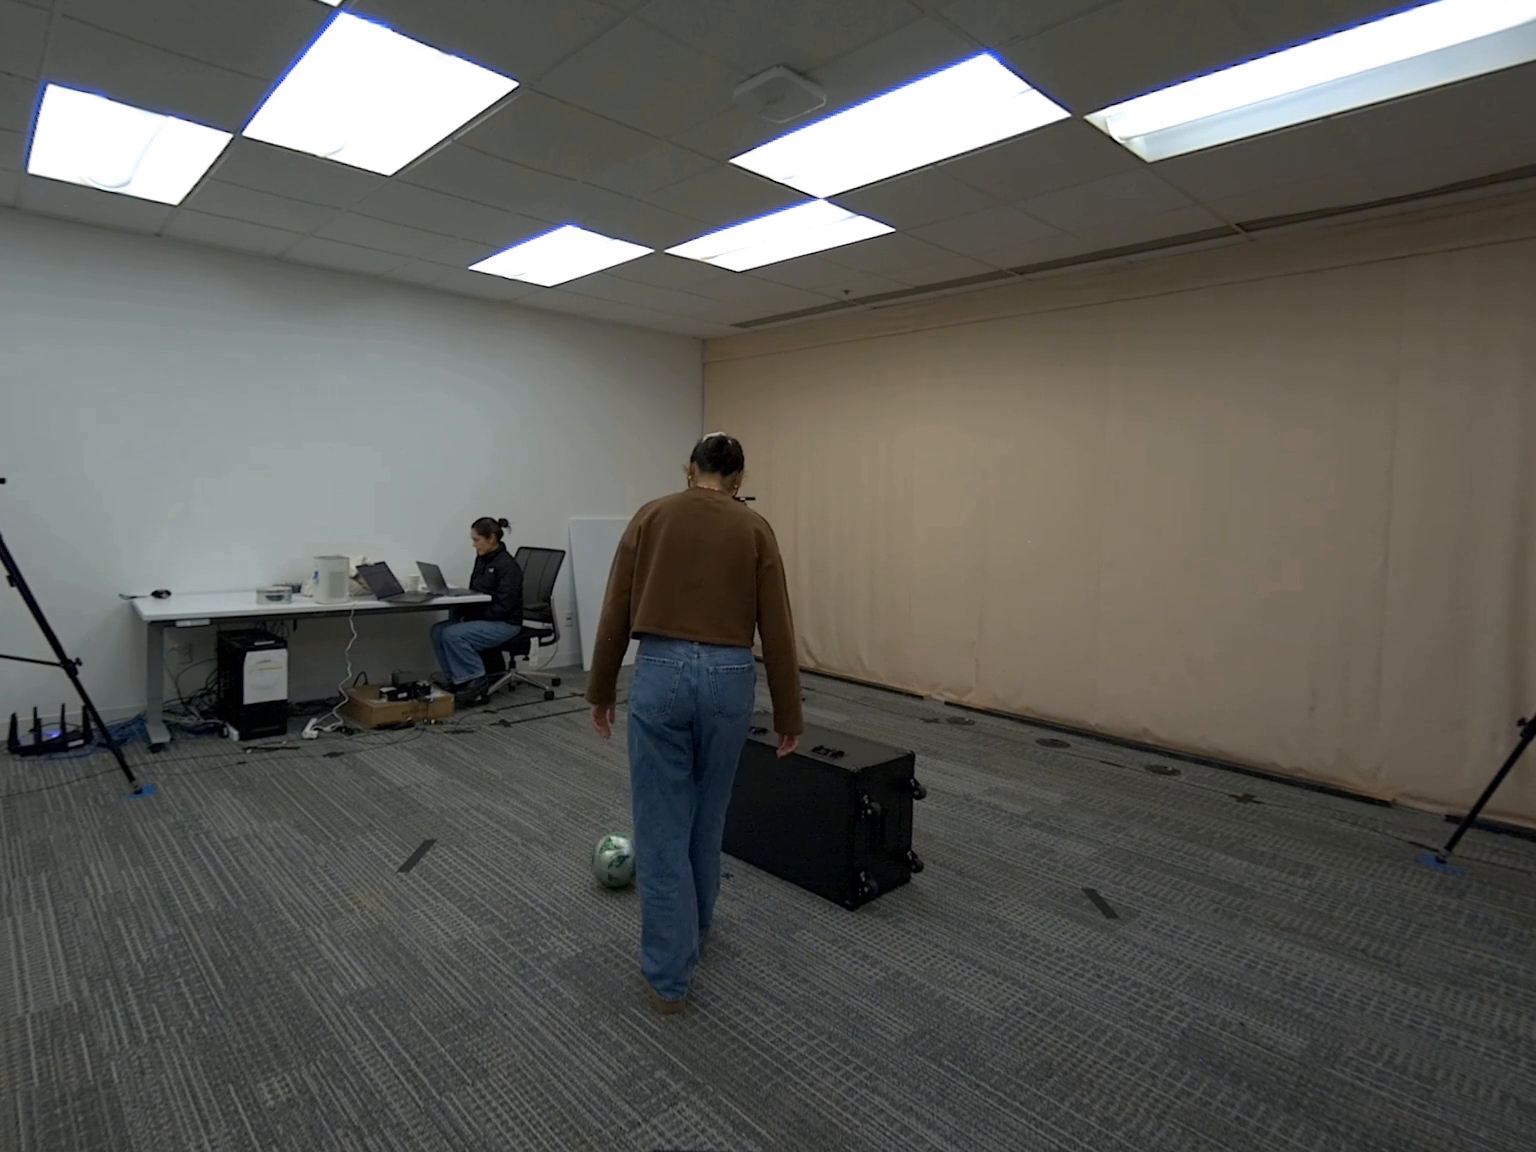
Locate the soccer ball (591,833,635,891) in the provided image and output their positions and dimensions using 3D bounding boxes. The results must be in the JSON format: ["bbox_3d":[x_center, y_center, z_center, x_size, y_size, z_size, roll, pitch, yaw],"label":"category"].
[{"bbox_3d":[-0.538,1.005,3.011,0.187,0.187,0.188,1,4,-1],"label":"soccer ball"}]
